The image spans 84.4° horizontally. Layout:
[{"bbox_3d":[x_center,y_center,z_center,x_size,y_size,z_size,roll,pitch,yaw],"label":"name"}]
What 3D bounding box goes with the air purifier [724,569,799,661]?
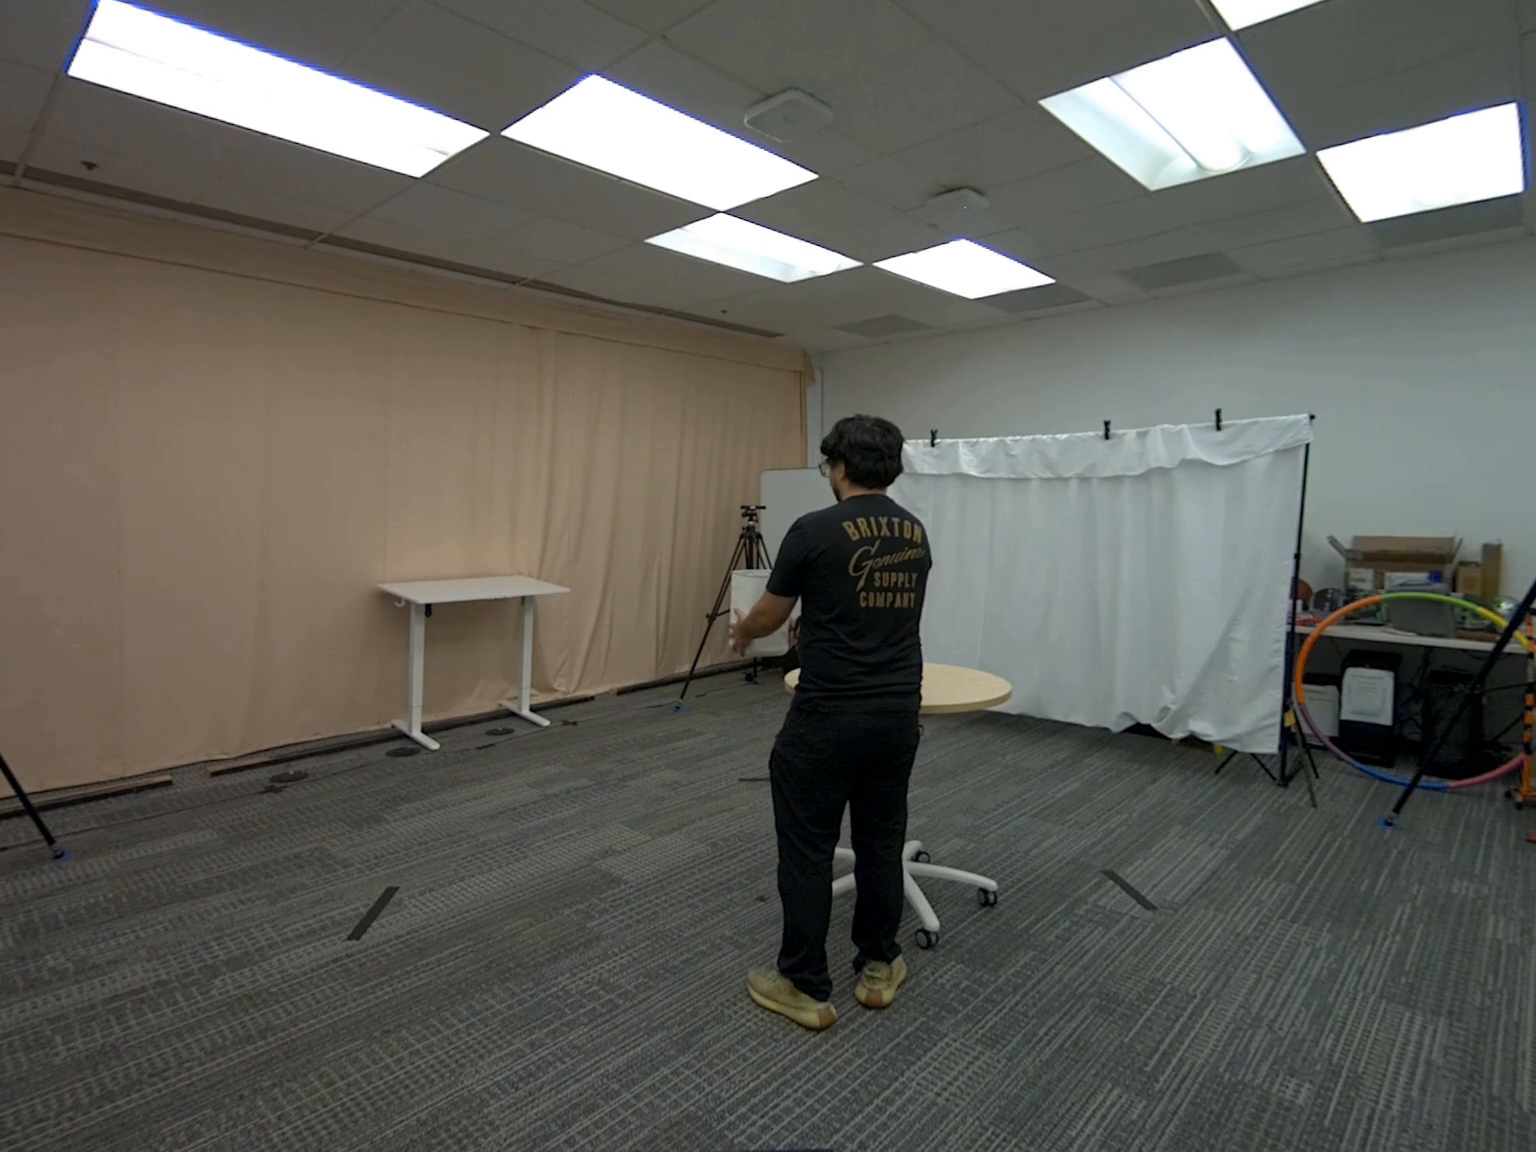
[{"bbox_3d":[-0.023,0.119,2.749,0.167,0.264,0.176,-1,5,-30],"label":"air purifier"}]
